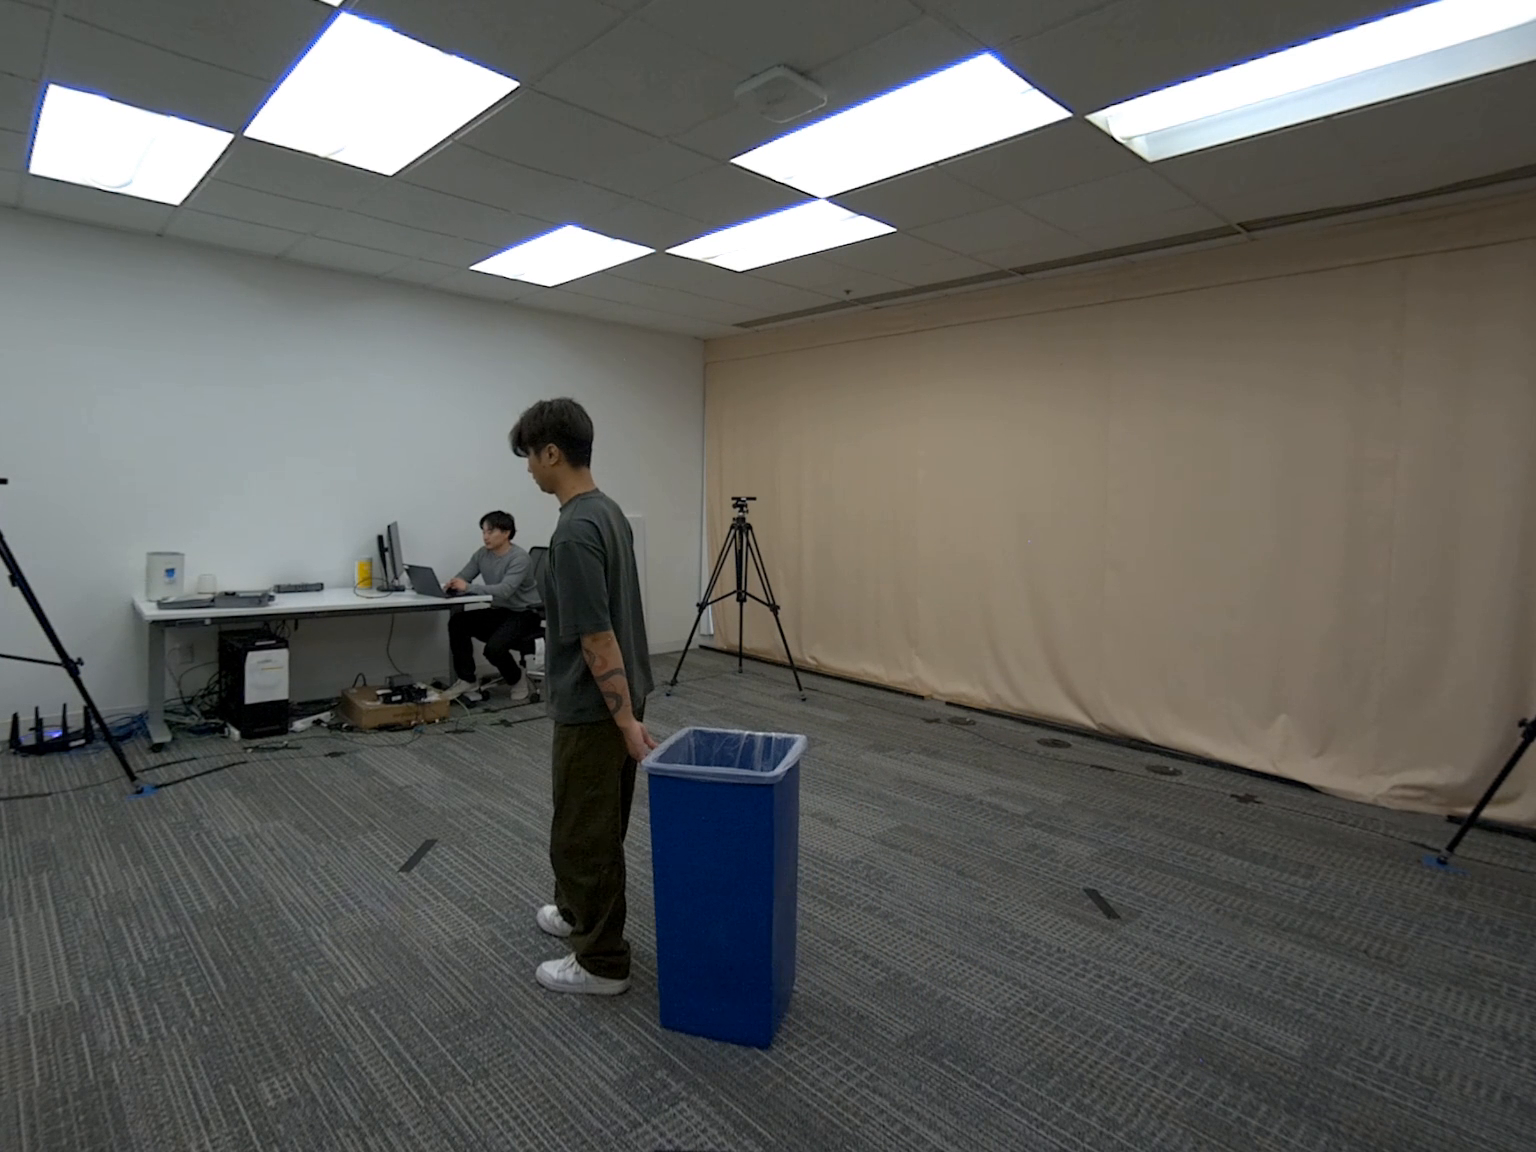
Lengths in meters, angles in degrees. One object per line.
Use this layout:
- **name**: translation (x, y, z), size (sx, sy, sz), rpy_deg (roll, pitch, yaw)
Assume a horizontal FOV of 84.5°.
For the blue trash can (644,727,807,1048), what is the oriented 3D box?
- **blue trash can**: translation (-0.113, 0.823, 2.273), size (0.383, 0.712, 0.370), rpy_deg (1, 2, 16)
